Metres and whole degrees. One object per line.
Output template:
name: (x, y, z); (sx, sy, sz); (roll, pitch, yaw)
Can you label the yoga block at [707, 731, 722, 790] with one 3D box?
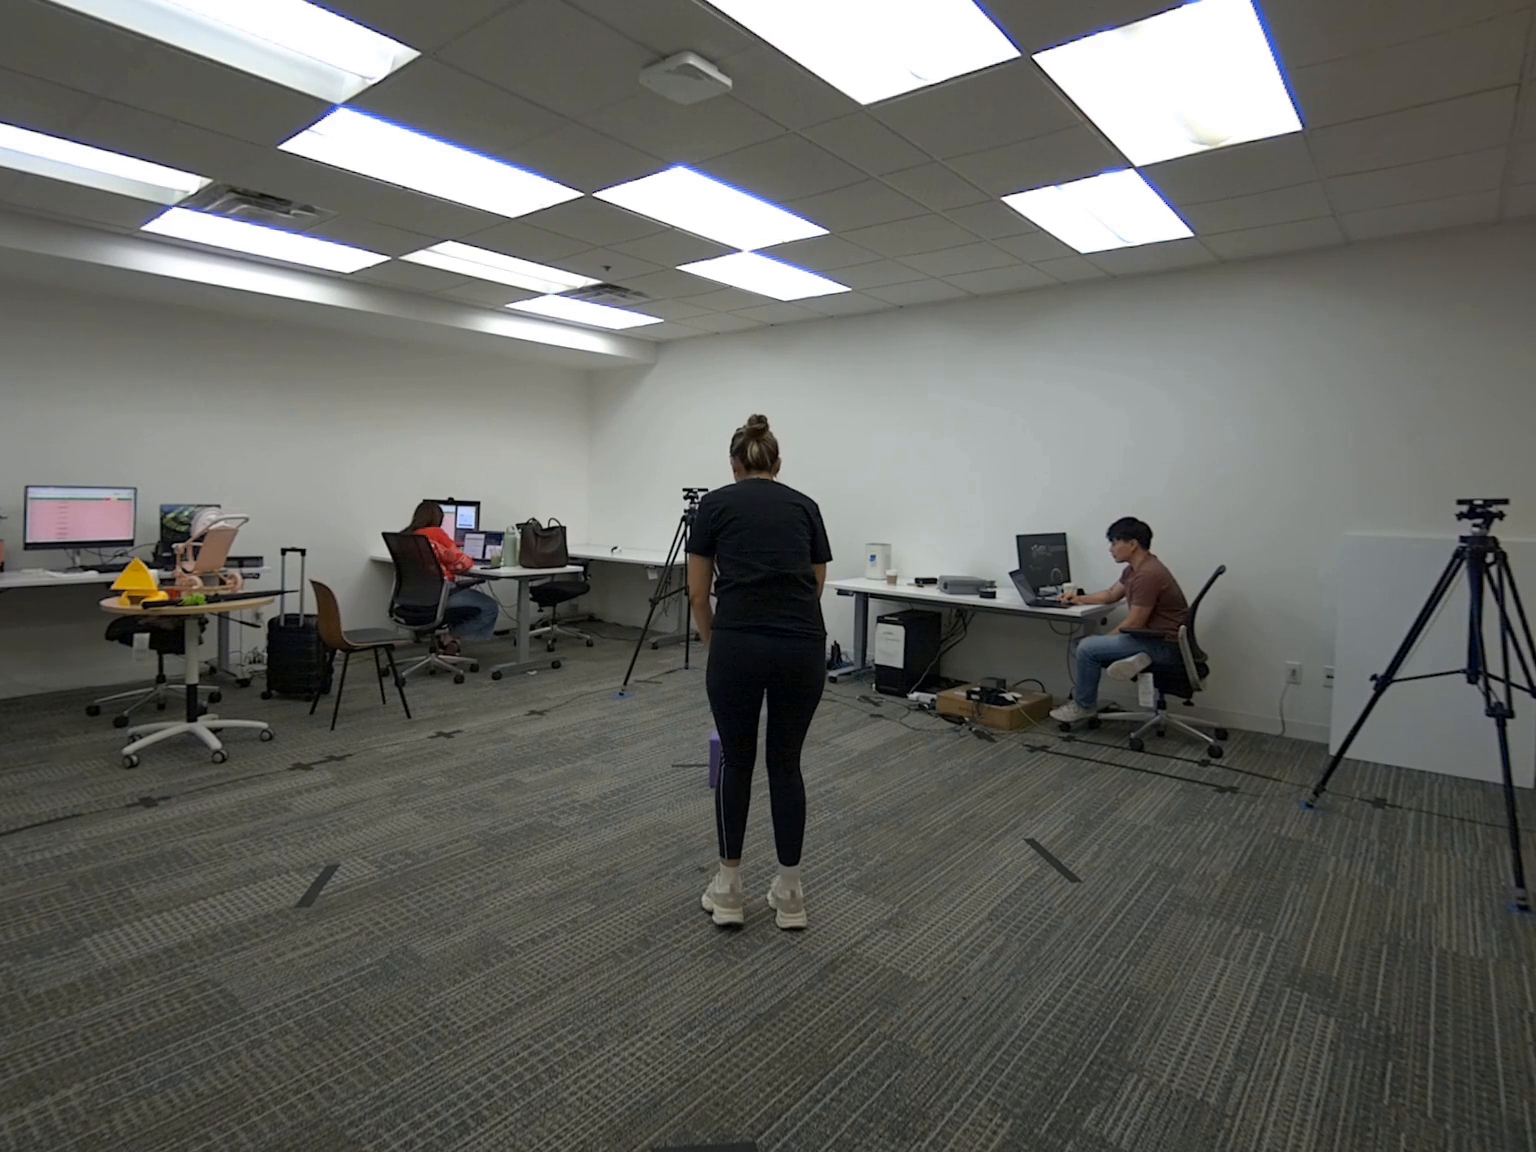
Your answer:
yoga block: (-0.246, 0.861, 4.041); (0.076, 0.228, 0.149); (0, 4, -1)
